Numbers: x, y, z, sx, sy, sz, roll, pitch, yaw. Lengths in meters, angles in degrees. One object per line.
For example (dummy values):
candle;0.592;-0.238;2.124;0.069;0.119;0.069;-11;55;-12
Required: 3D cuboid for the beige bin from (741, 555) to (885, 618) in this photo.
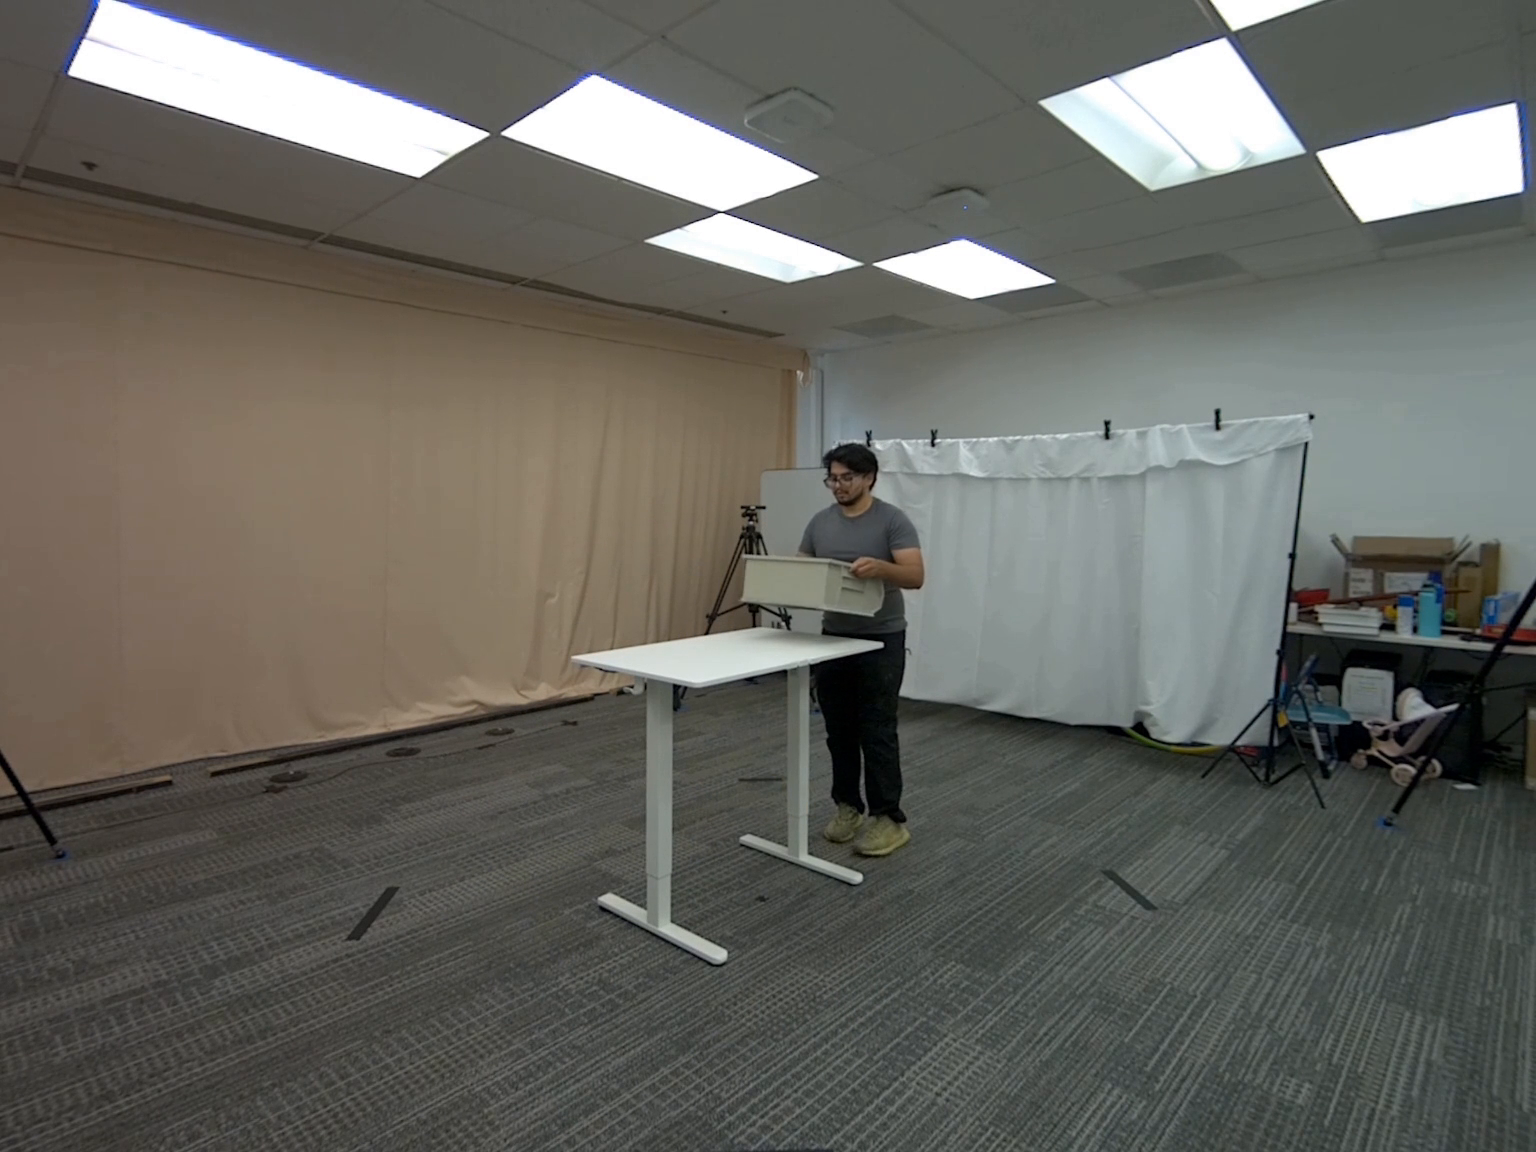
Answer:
beige bin;0.171;0.042;3.235;0.436;0.189;0.364;4;-3;44
